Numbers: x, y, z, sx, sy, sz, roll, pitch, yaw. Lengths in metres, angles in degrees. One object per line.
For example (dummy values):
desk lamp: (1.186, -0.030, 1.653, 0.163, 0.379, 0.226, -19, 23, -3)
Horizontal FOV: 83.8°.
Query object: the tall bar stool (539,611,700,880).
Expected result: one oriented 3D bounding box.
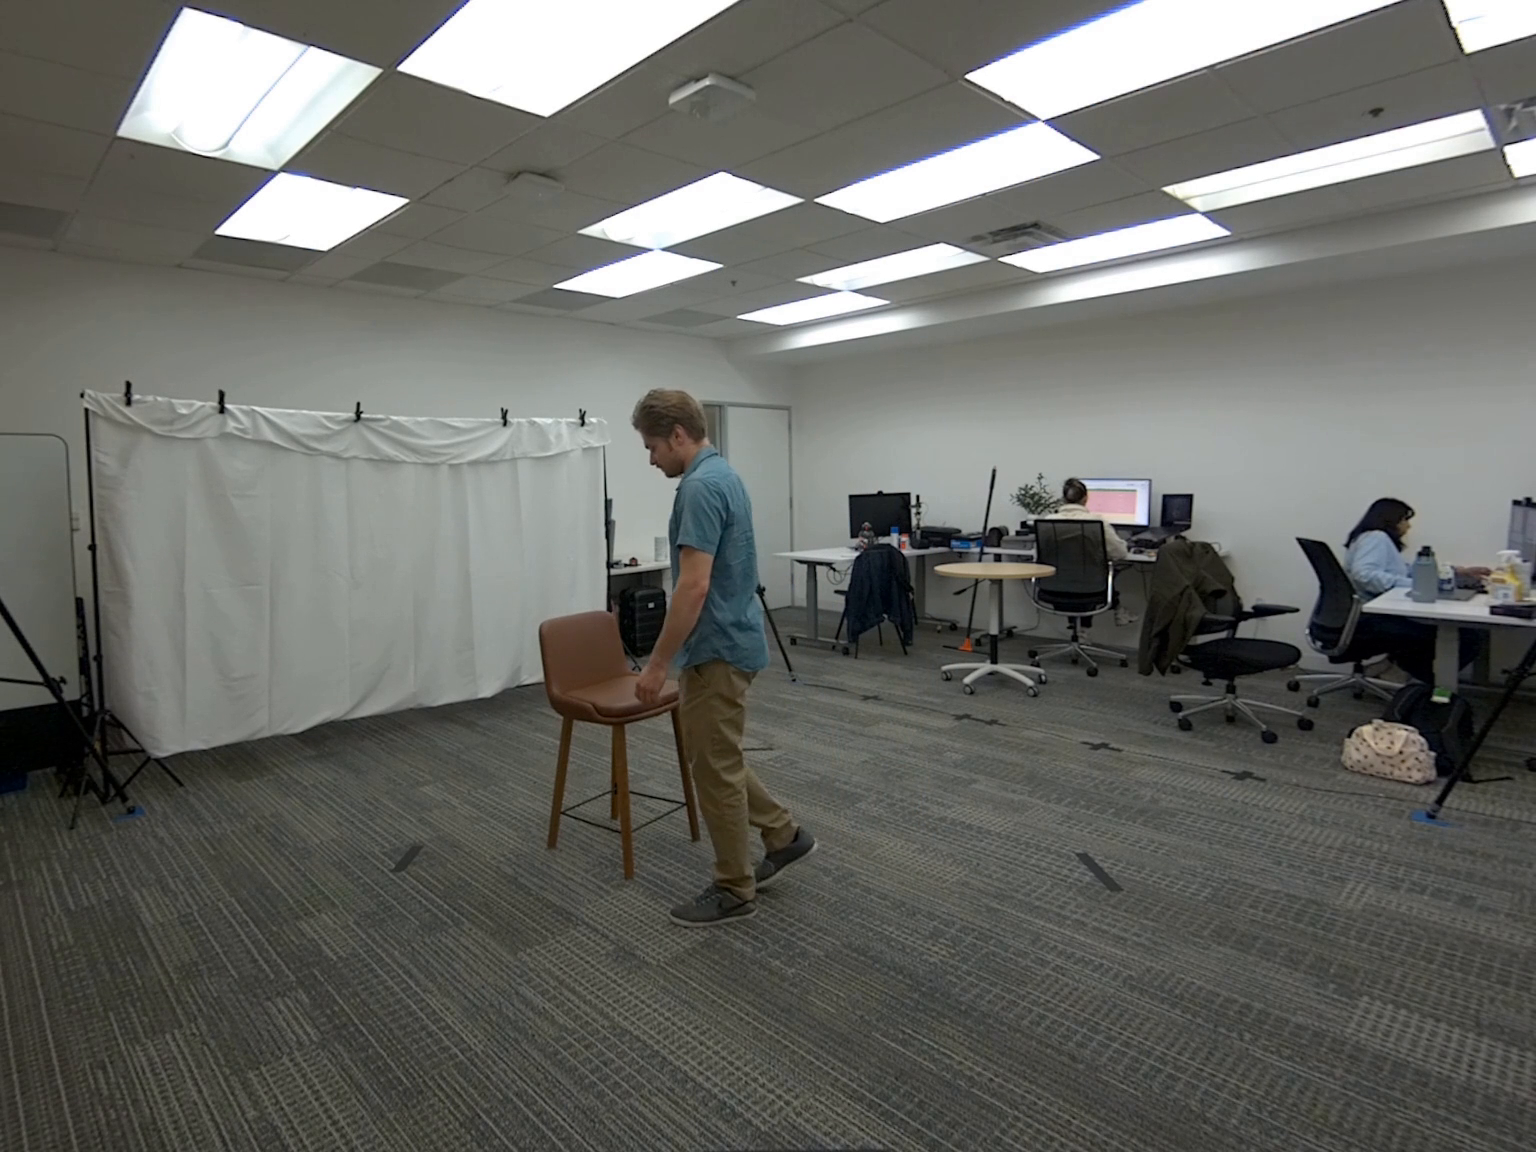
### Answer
tall bar stool: (-0.574, 0.604, 3.279, 0.480, 0.888, 0.445, -1, 3, 36)
